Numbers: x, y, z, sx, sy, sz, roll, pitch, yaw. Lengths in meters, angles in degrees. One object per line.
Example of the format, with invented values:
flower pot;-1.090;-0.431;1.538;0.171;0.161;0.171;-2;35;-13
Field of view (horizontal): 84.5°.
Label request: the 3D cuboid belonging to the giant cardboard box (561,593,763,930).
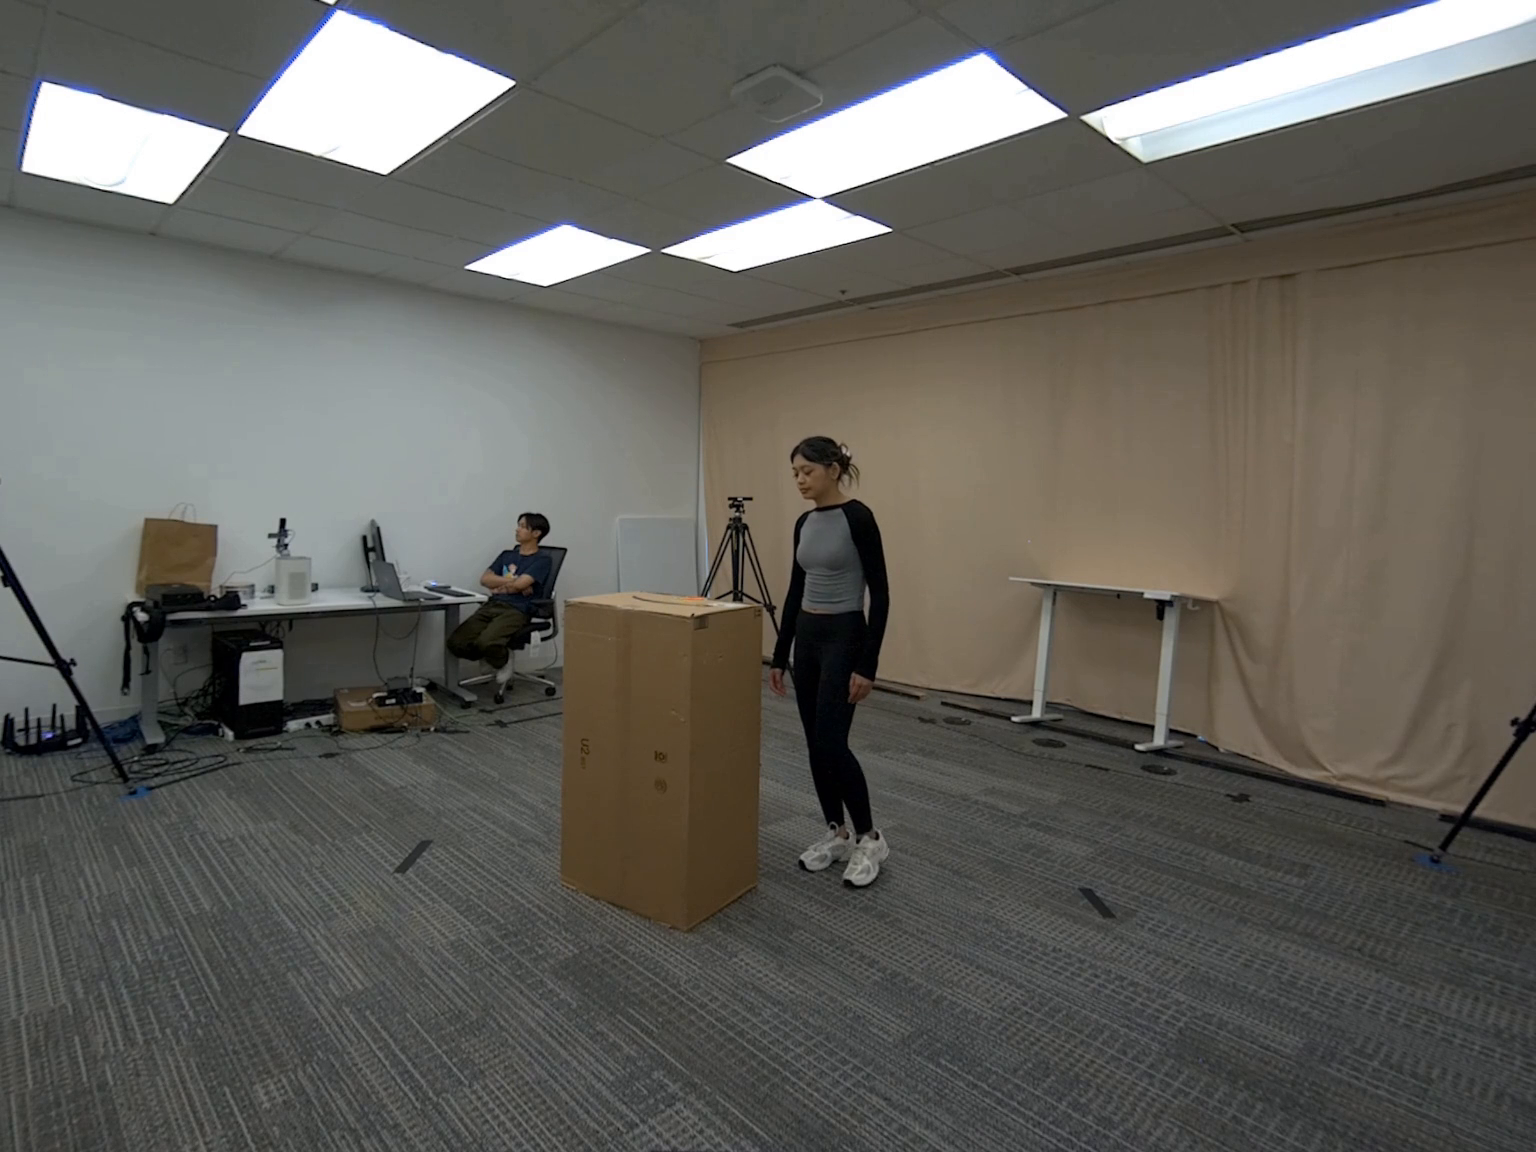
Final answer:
giant cardboard box;-0.385;0.602;2.998;0.591;1.023;0.417;4;4;34
